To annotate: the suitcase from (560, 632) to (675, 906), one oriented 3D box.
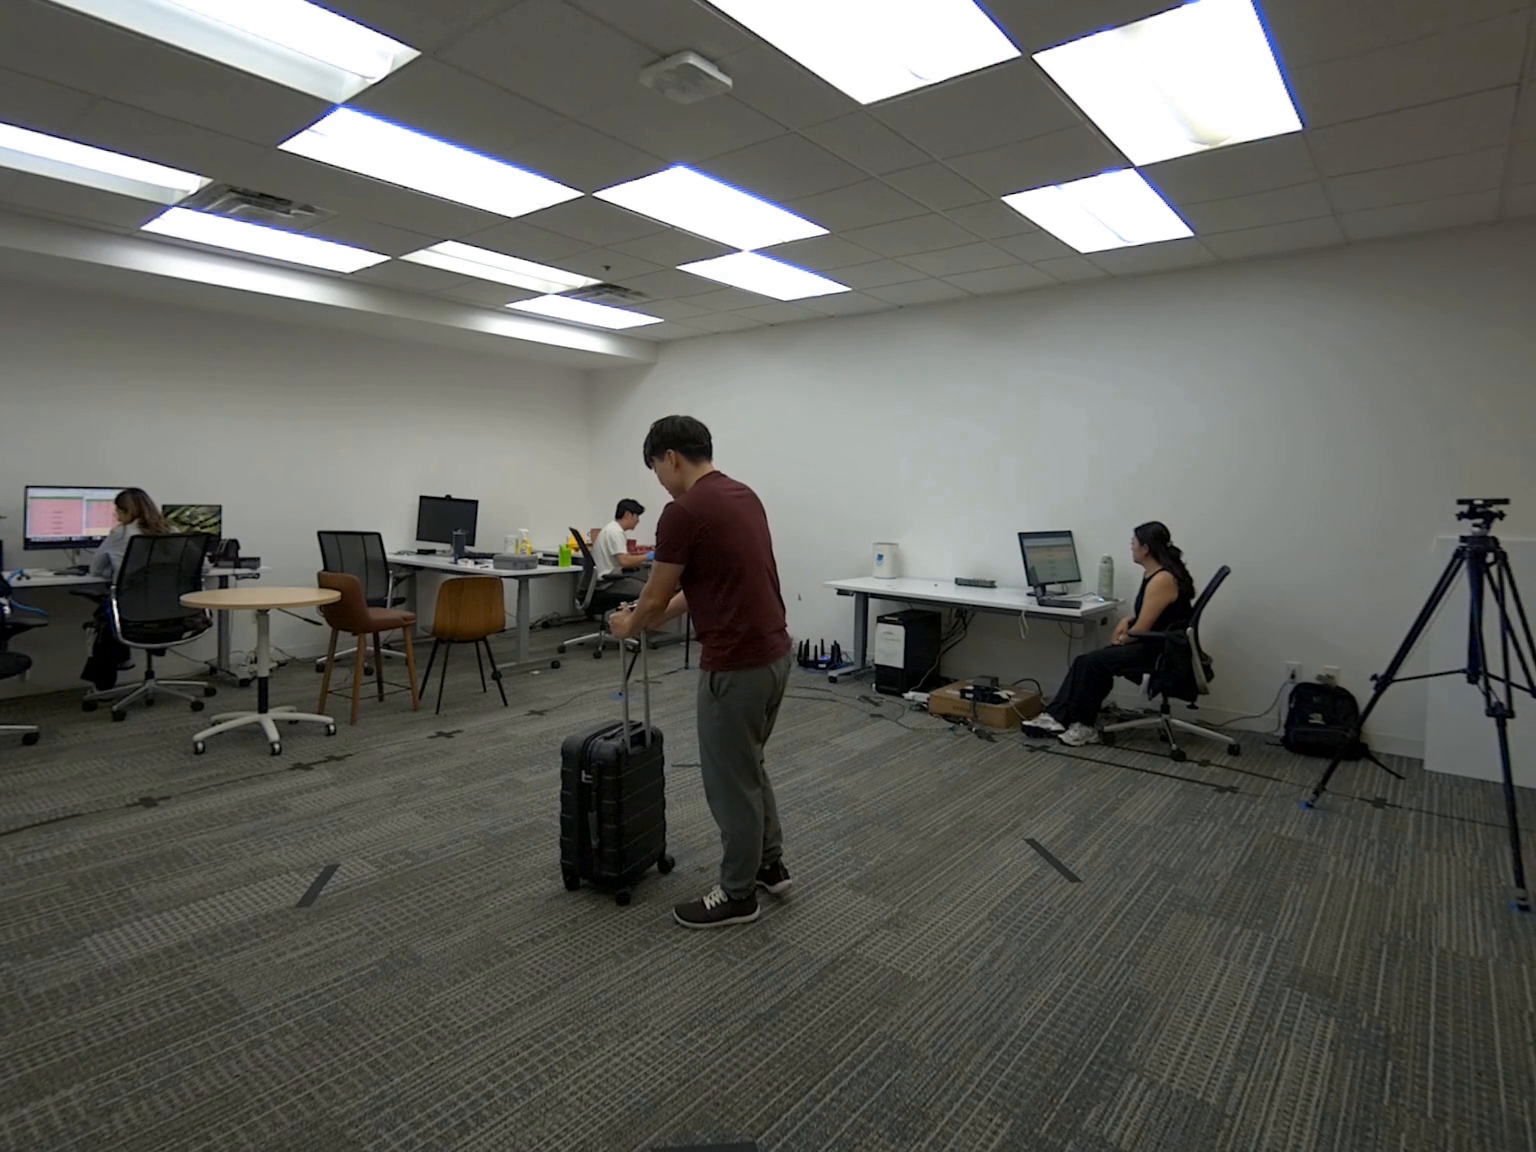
[{"bbox_3d":[-0.565,0.599,3.003,0.263,0.977,0.375,-3,2,24],"label":"suitcase"}]
